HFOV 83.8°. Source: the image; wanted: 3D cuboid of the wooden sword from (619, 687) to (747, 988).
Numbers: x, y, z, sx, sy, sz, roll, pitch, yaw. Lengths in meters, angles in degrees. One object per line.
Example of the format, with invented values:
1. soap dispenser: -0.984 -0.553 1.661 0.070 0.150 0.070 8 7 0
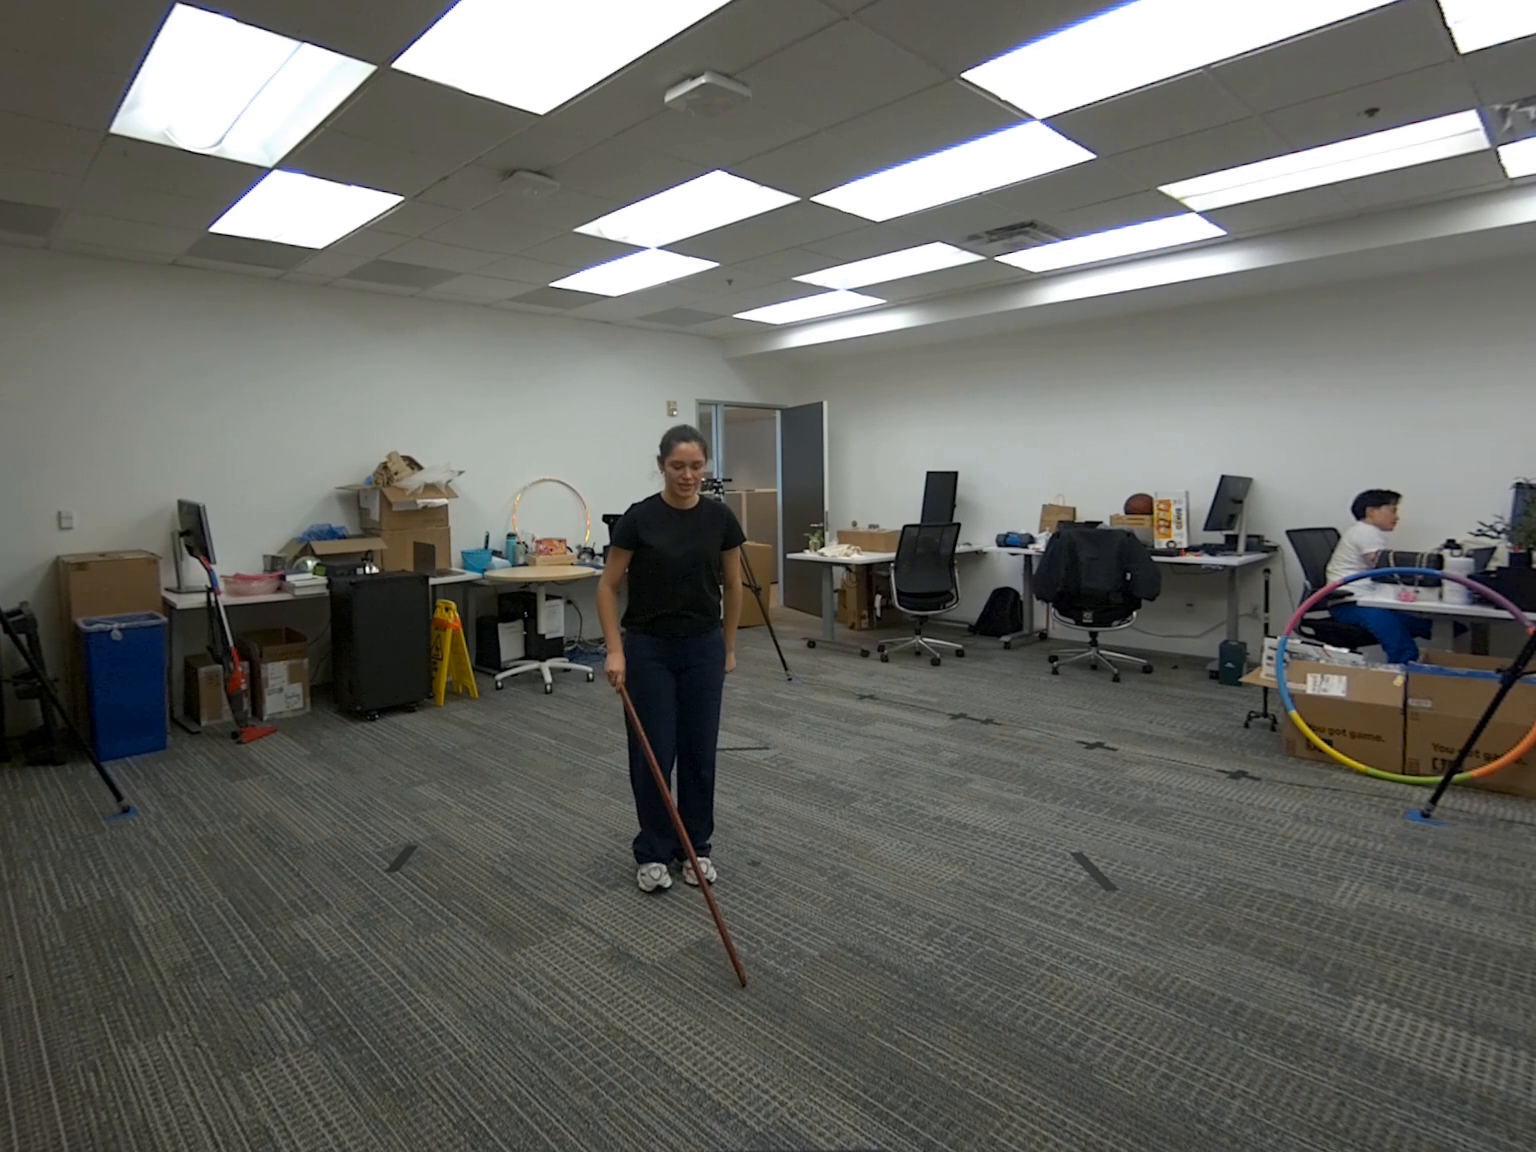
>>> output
1. wooden sword: -0.283 0.713 2.605 0.051 1.057 0.023 -37 -29 16
